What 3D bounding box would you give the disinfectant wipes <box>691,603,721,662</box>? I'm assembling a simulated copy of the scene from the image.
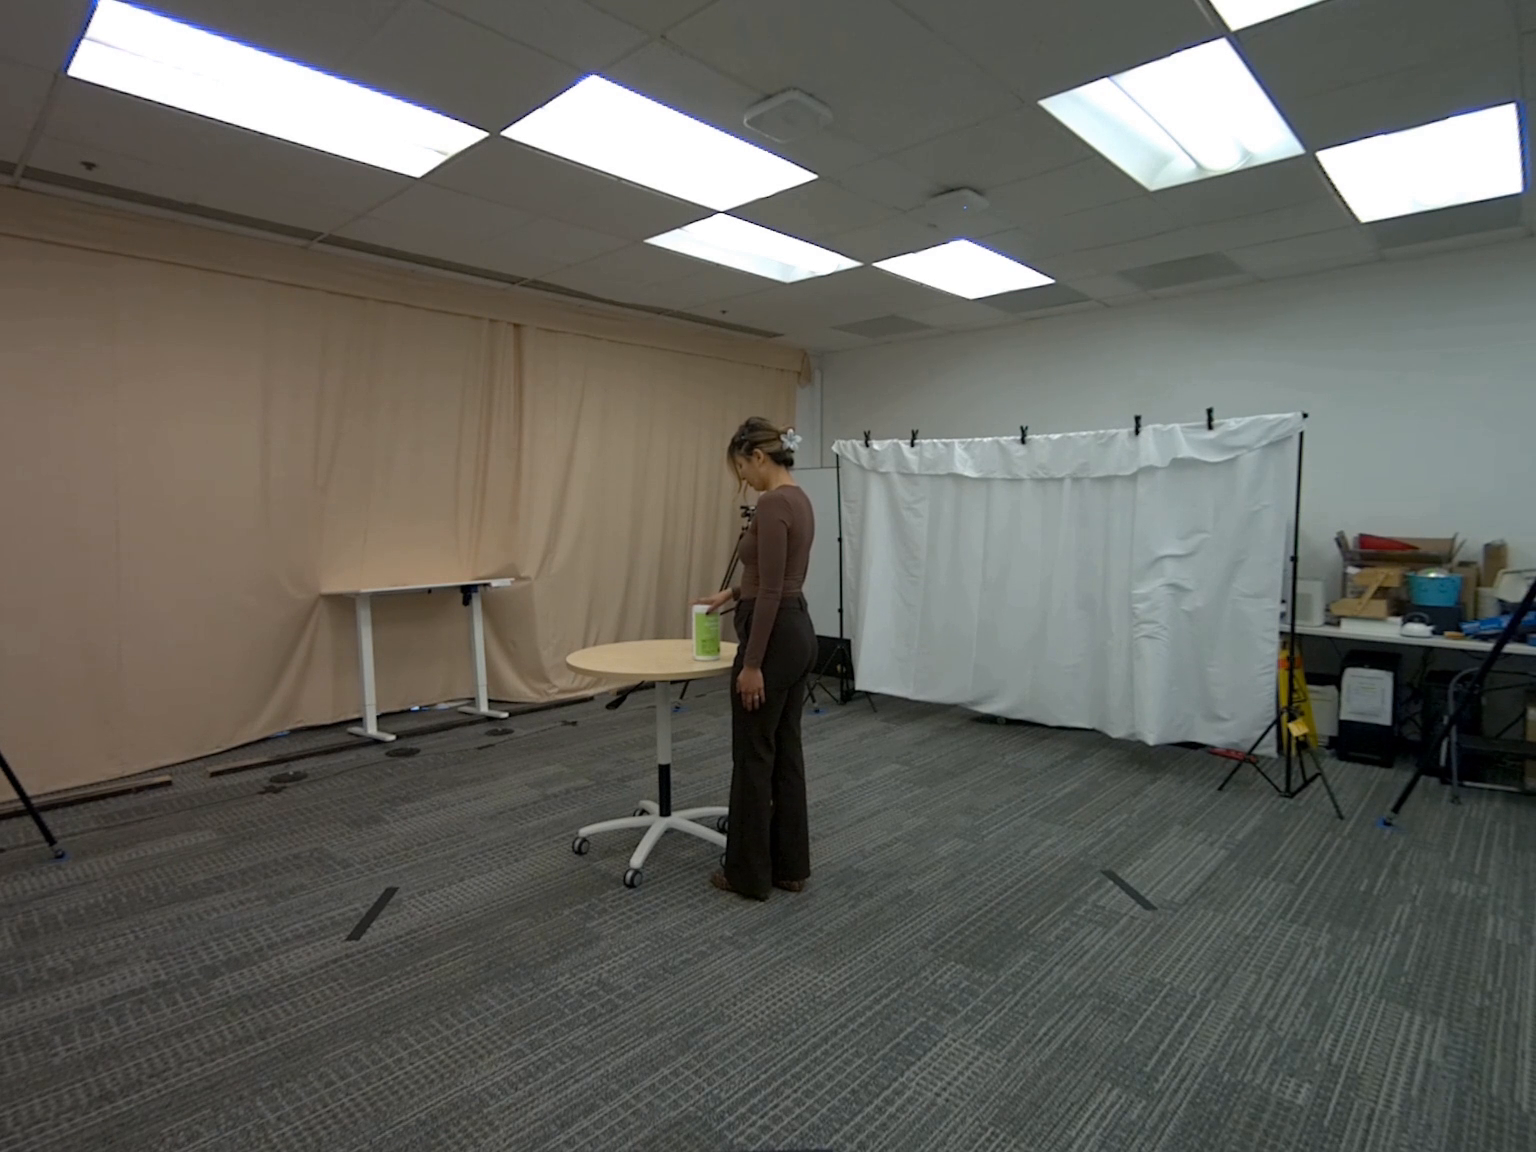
[{"bbox_3d":[-0.239,0.218,3.270,0.117,0.217,0.118,2,6,-2],"label":"disinfectant wipes"}]
